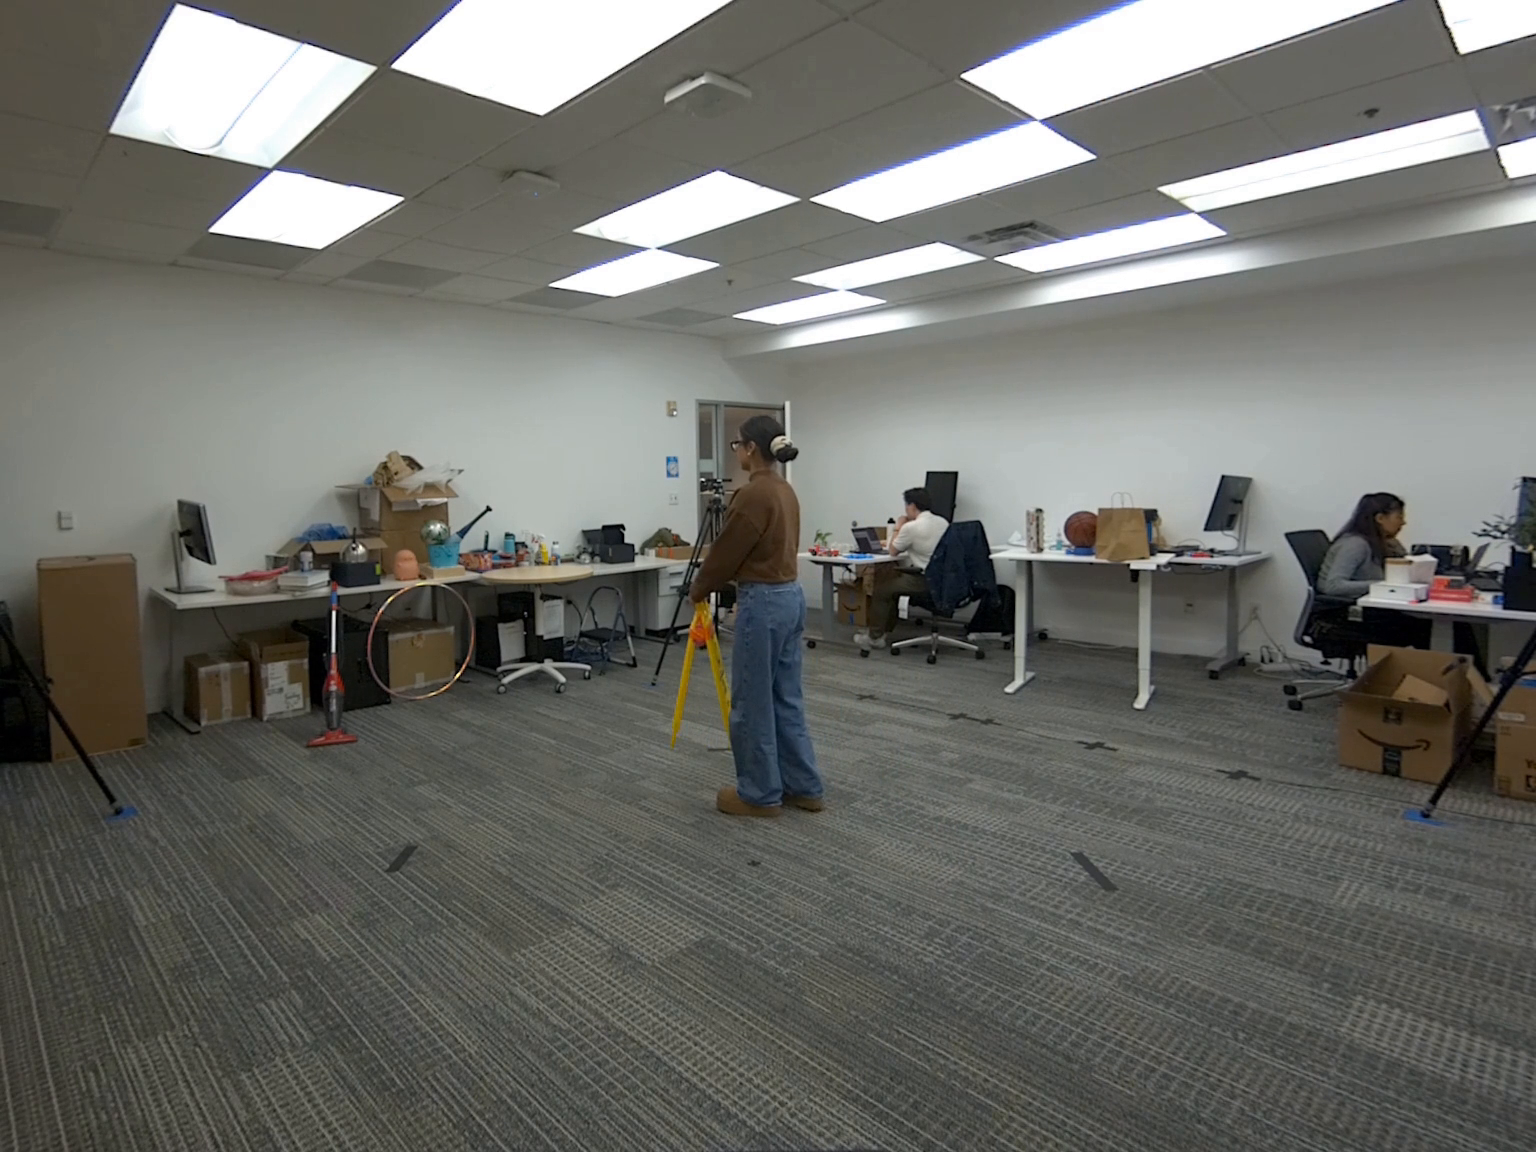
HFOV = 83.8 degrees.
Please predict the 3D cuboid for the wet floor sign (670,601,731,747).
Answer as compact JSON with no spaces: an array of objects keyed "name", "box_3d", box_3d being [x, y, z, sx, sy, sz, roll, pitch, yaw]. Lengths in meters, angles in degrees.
[{"name":"wet floor sign","box_3d":[-0.288,0.406,3.772,0.291,0.643,0.283,-1,6,3]}]
